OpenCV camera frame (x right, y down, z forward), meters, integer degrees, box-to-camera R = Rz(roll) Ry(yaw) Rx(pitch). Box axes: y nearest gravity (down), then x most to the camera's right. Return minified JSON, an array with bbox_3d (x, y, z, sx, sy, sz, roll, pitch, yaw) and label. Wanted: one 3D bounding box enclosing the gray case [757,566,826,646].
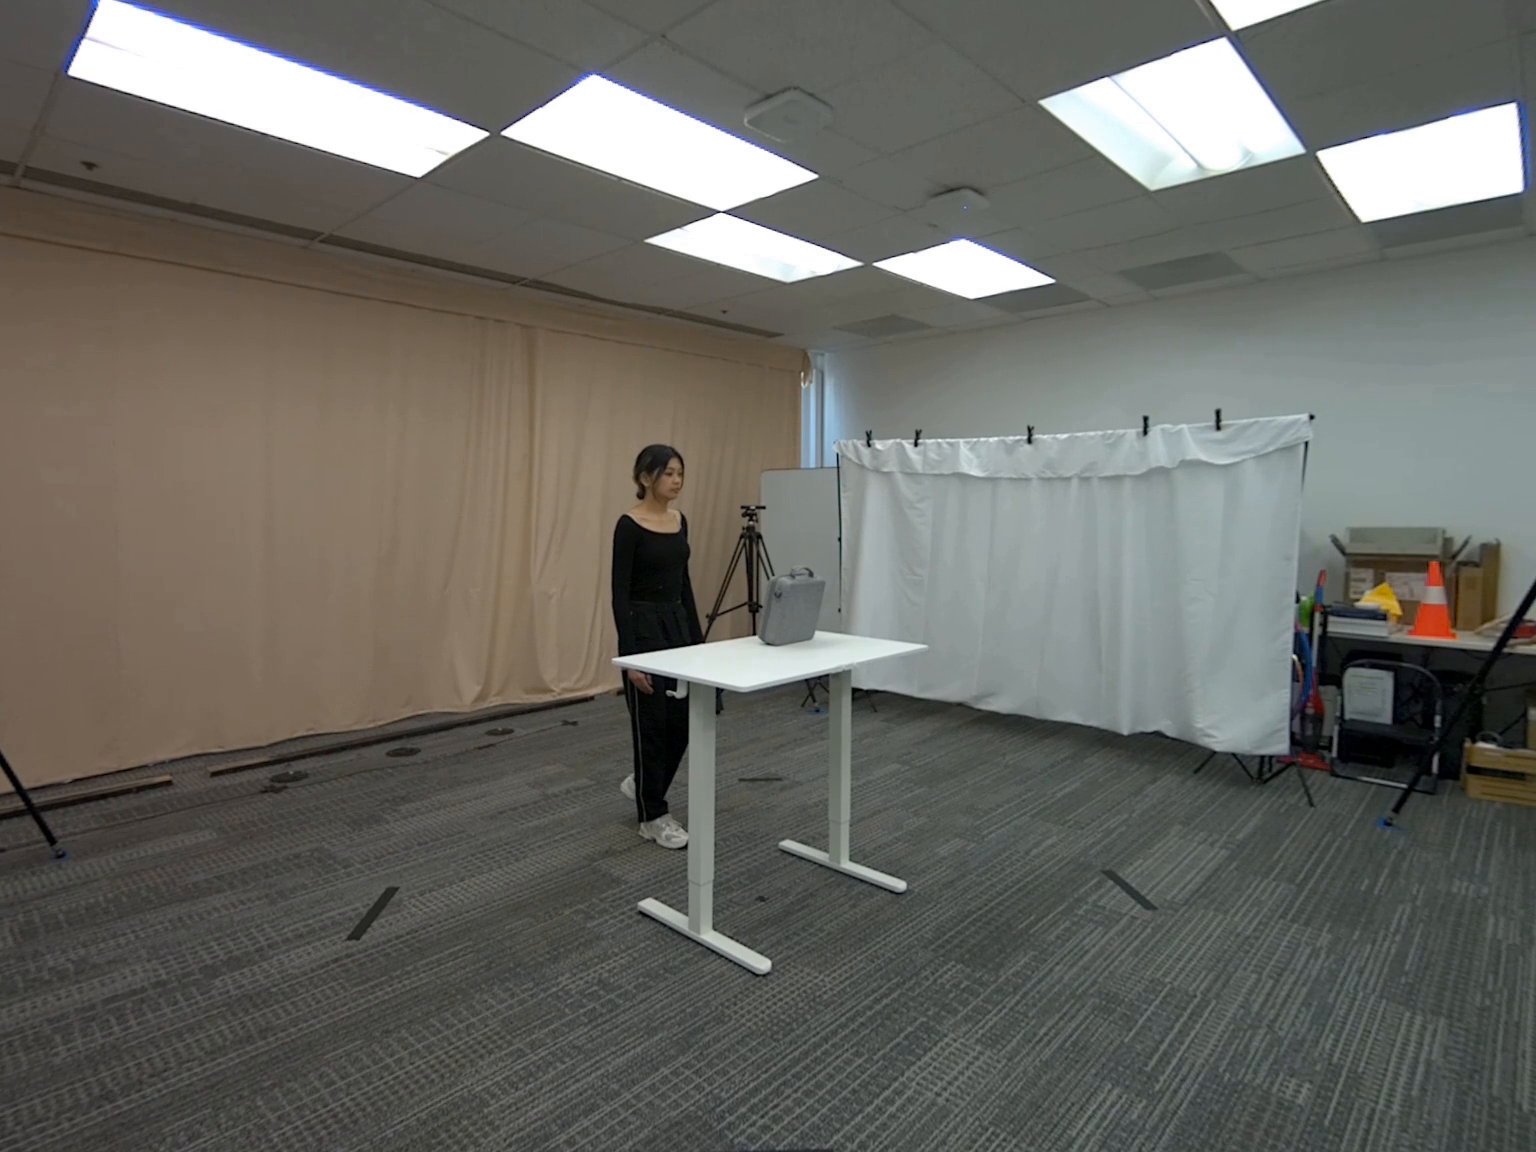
[{"bbox_3d":[0.092,0.119,3.129,0.108,0.259,0.249,19,16,38],"label":"gray case"}]
